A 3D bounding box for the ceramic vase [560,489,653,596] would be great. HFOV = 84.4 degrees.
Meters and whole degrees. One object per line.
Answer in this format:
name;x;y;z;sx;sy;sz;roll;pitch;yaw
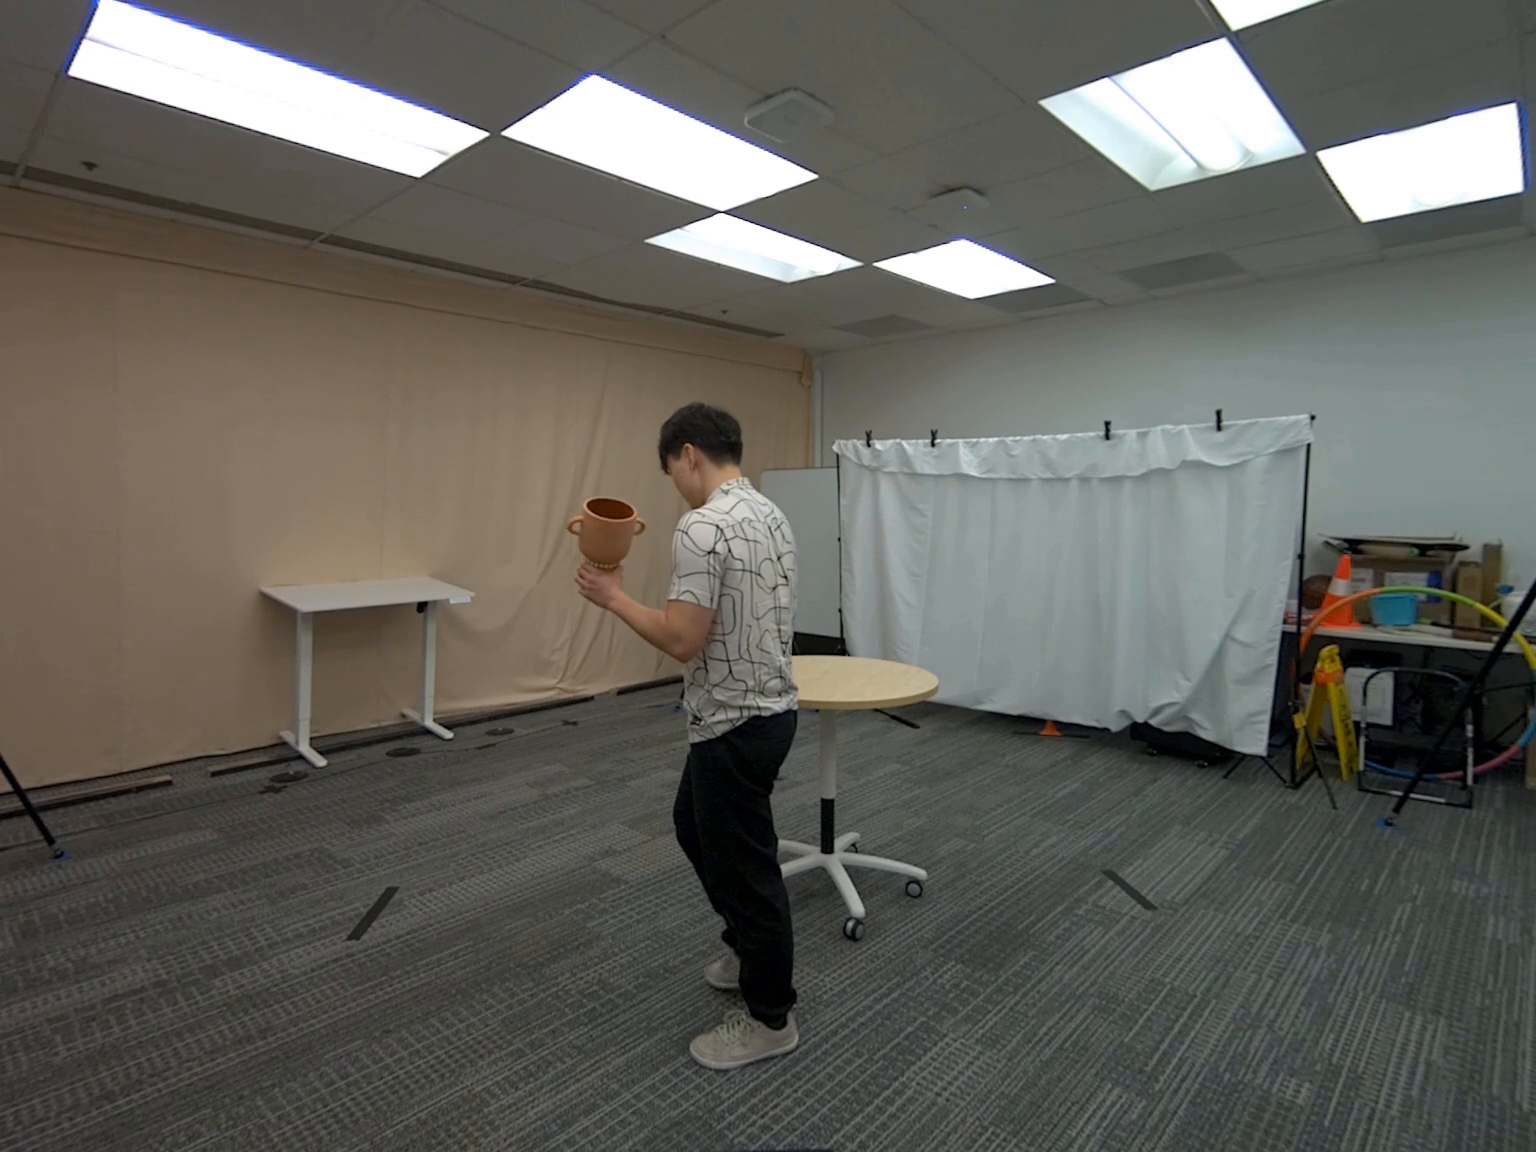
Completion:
ceramic vase;-0.399;-0.072;2.083;0.161;0.218;0.134;18;26;11
